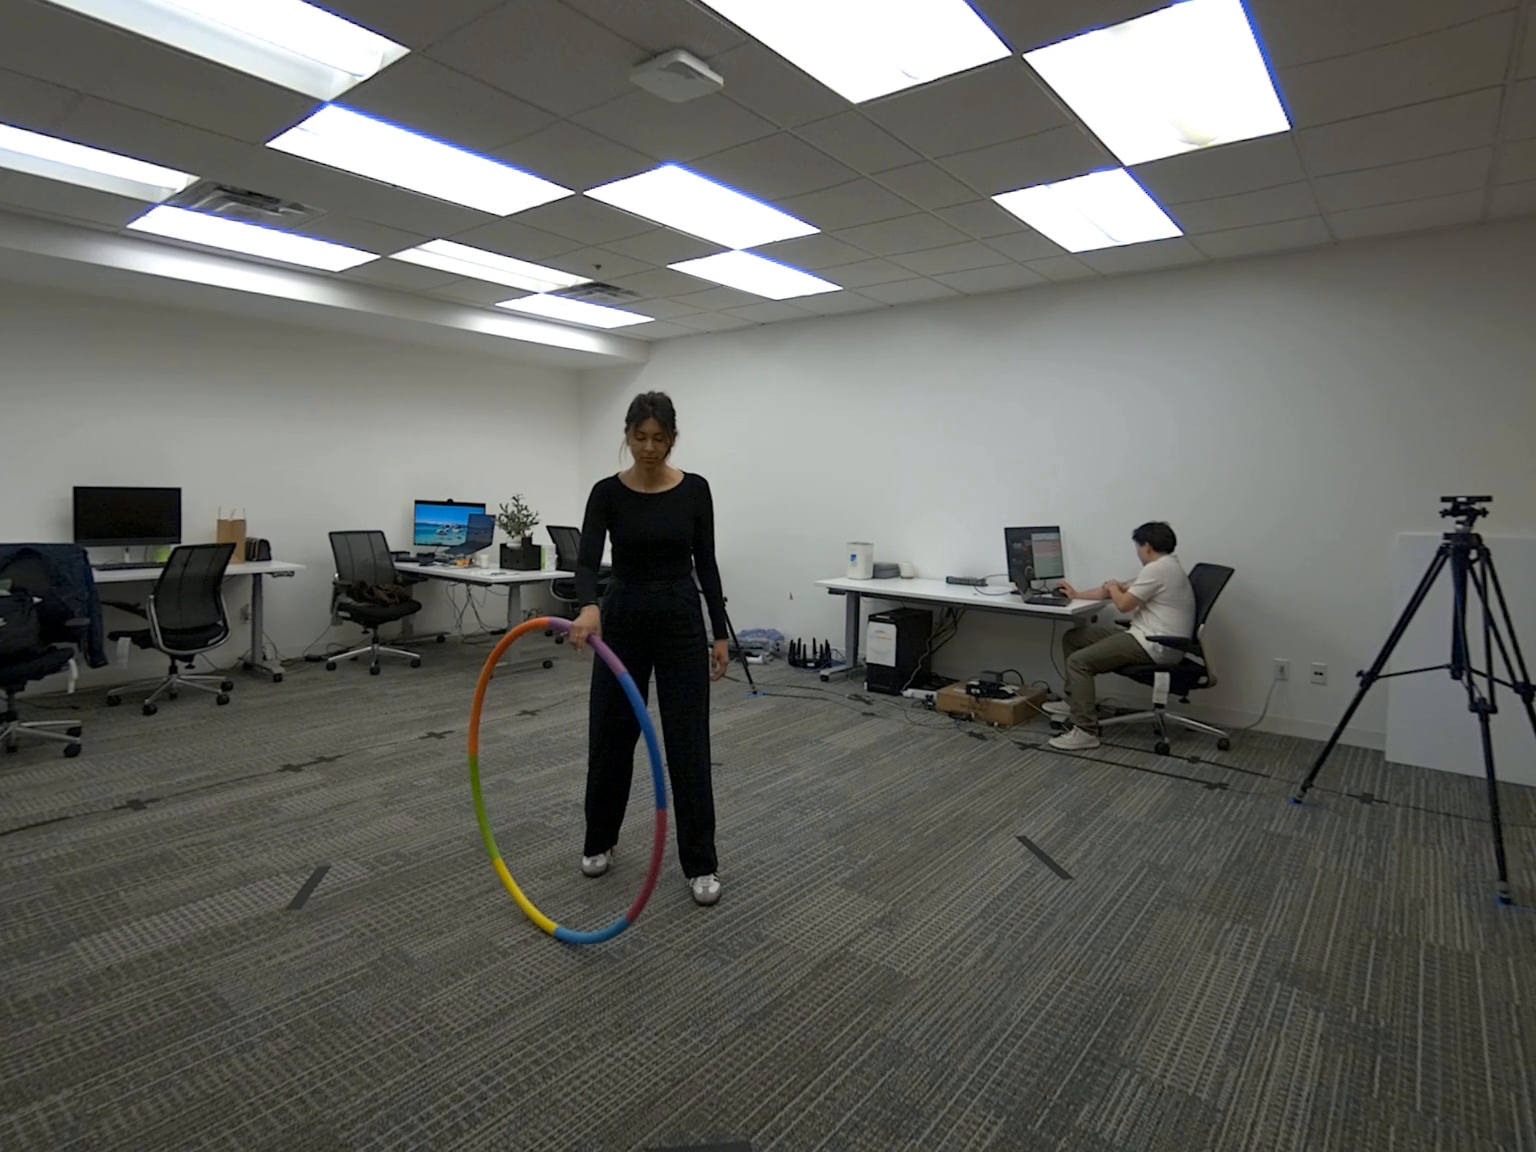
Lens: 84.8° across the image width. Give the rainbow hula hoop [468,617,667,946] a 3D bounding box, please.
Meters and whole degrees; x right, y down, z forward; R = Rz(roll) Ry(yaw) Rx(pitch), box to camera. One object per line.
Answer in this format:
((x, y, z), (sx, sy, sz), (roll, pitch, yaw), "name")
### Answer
((-0.667, 0.617, 2.634), (1.012, 0.977, 0.034), (4, 2, 42), "rainbow hula hoop")
